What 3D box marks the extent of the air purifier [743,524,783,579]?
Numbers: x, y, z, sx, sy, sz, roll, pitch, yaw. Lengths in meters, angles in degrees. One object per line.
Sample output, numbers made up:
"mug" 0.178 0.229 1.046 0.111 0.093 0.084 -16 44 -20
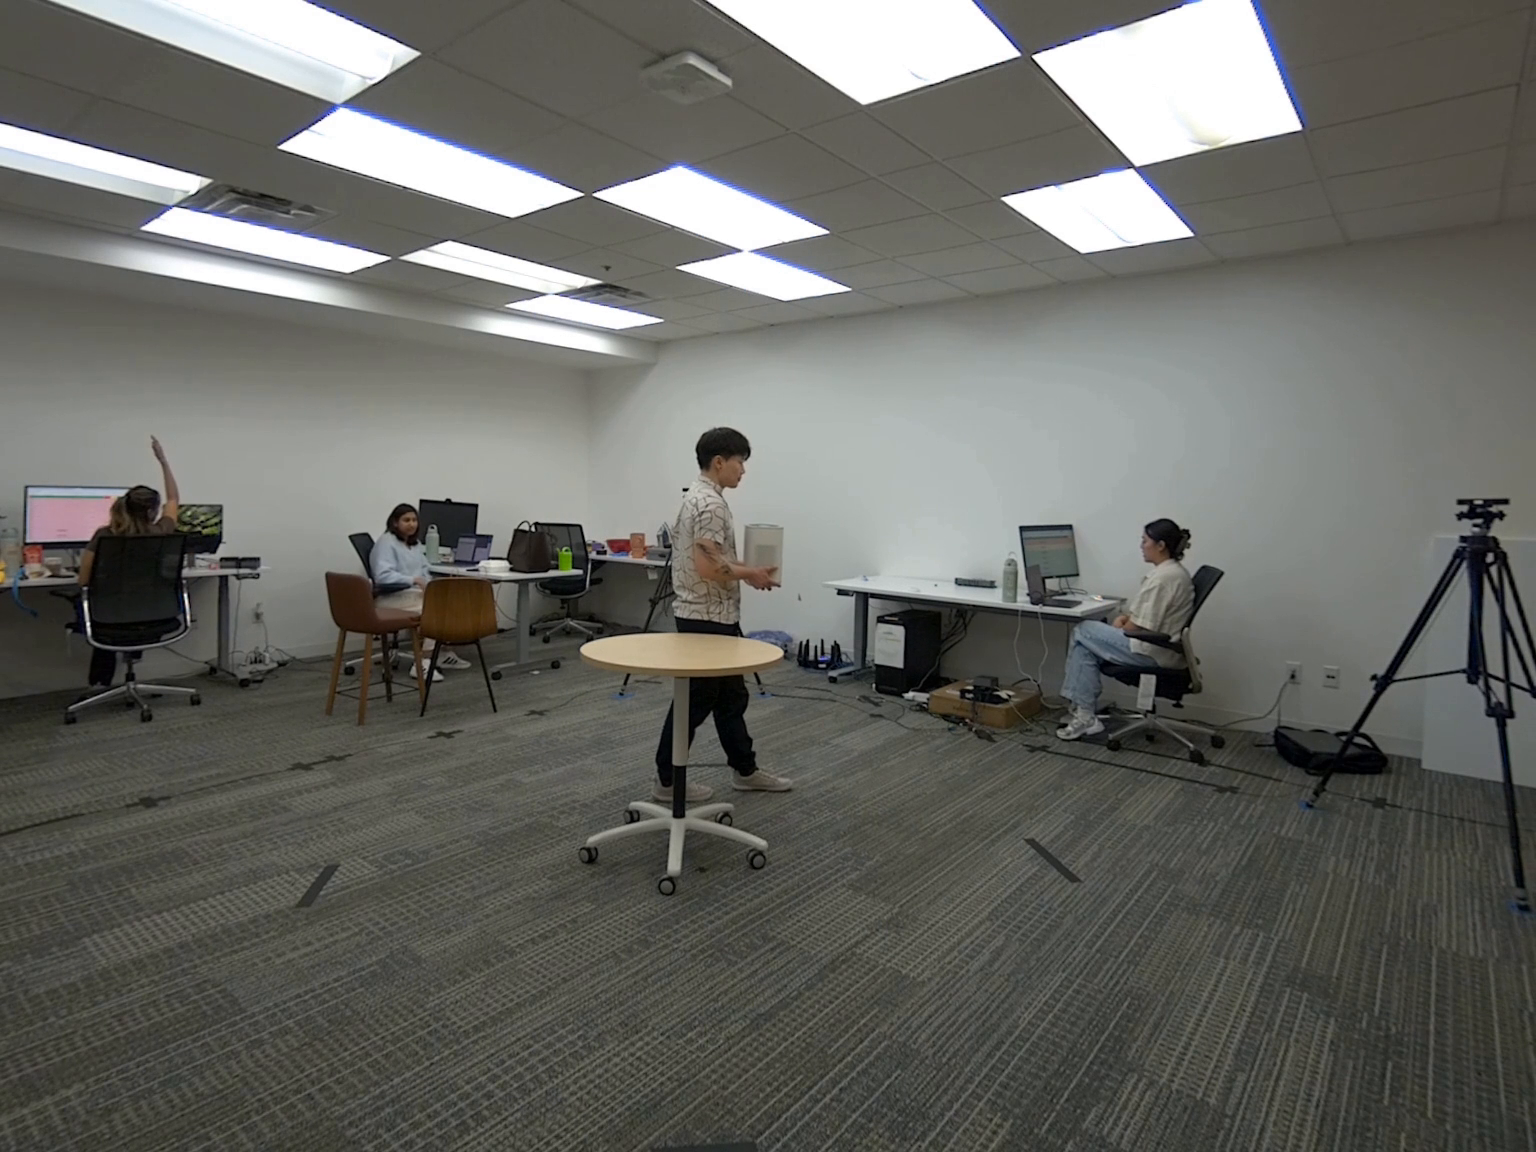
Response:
"air purifier" -0.034 -0.099 3.801 0.171 0.263 0.172 1 8 -1
